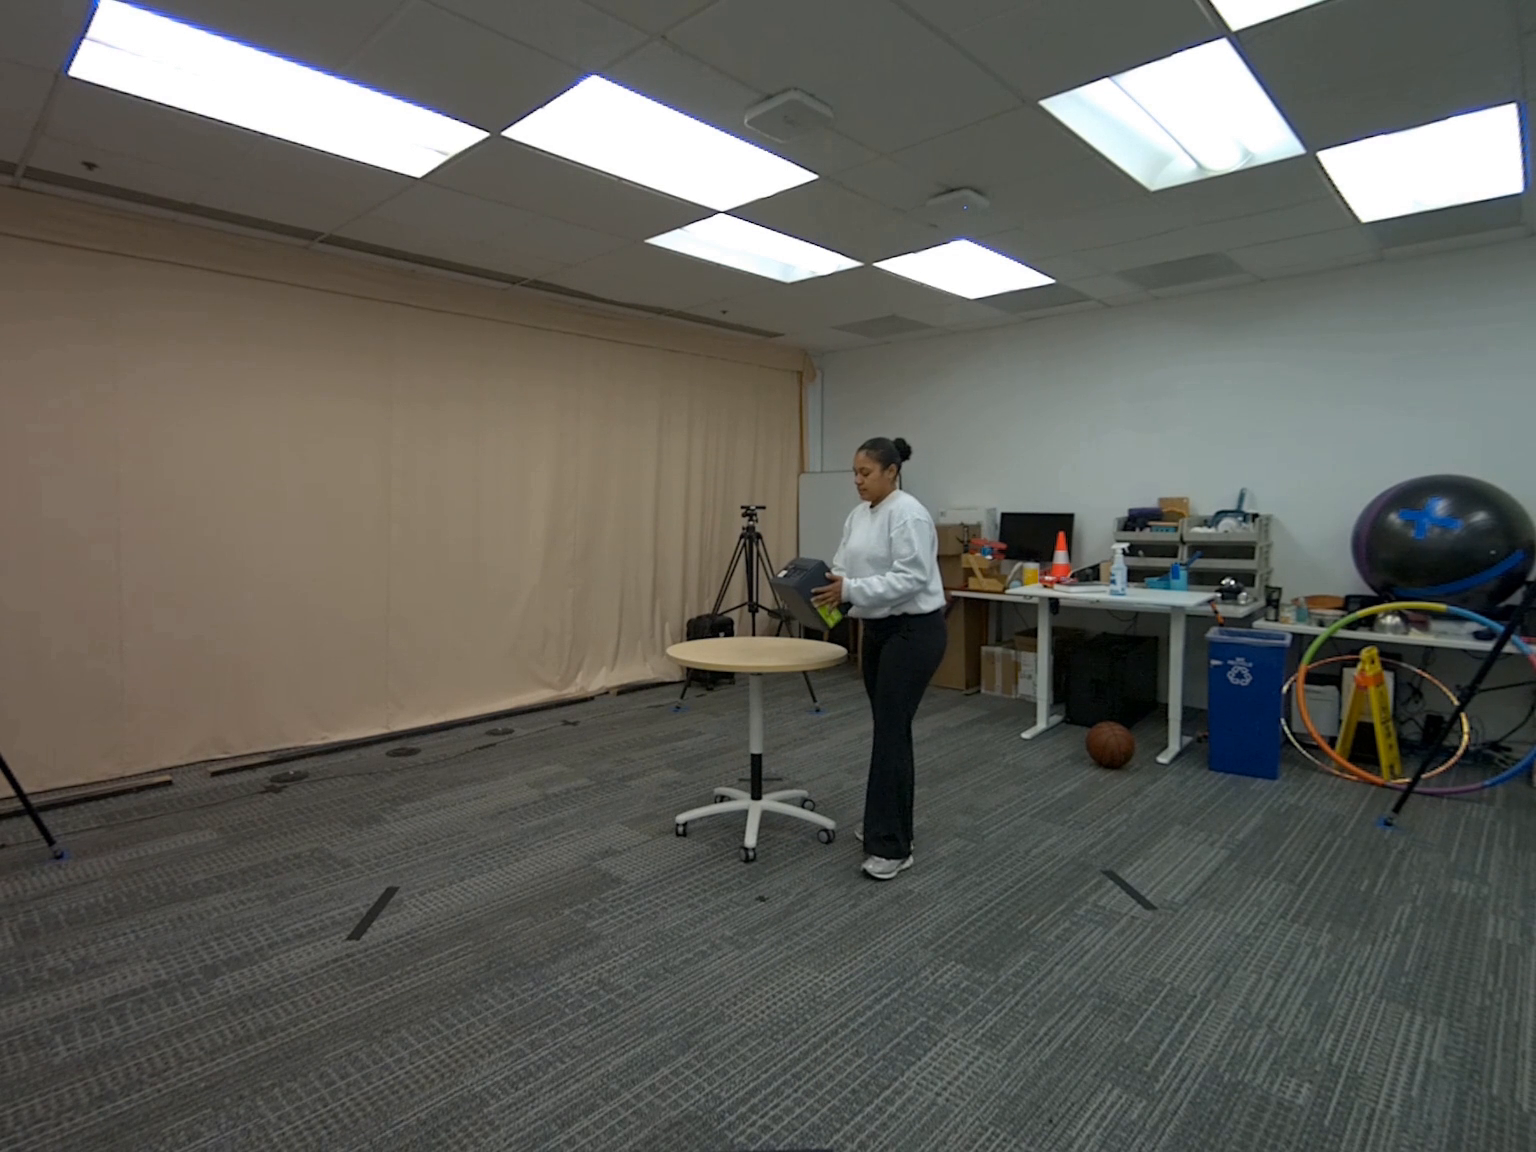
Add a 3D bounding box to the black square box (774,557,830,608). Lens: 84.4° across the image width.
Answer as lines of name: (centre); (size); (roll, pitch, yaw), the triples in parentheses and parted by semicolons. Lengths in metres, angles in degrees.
black square box: (0.171, 0.070, 3.229); (0.155, 0.224, 0.222); (-42, 17, -17)
